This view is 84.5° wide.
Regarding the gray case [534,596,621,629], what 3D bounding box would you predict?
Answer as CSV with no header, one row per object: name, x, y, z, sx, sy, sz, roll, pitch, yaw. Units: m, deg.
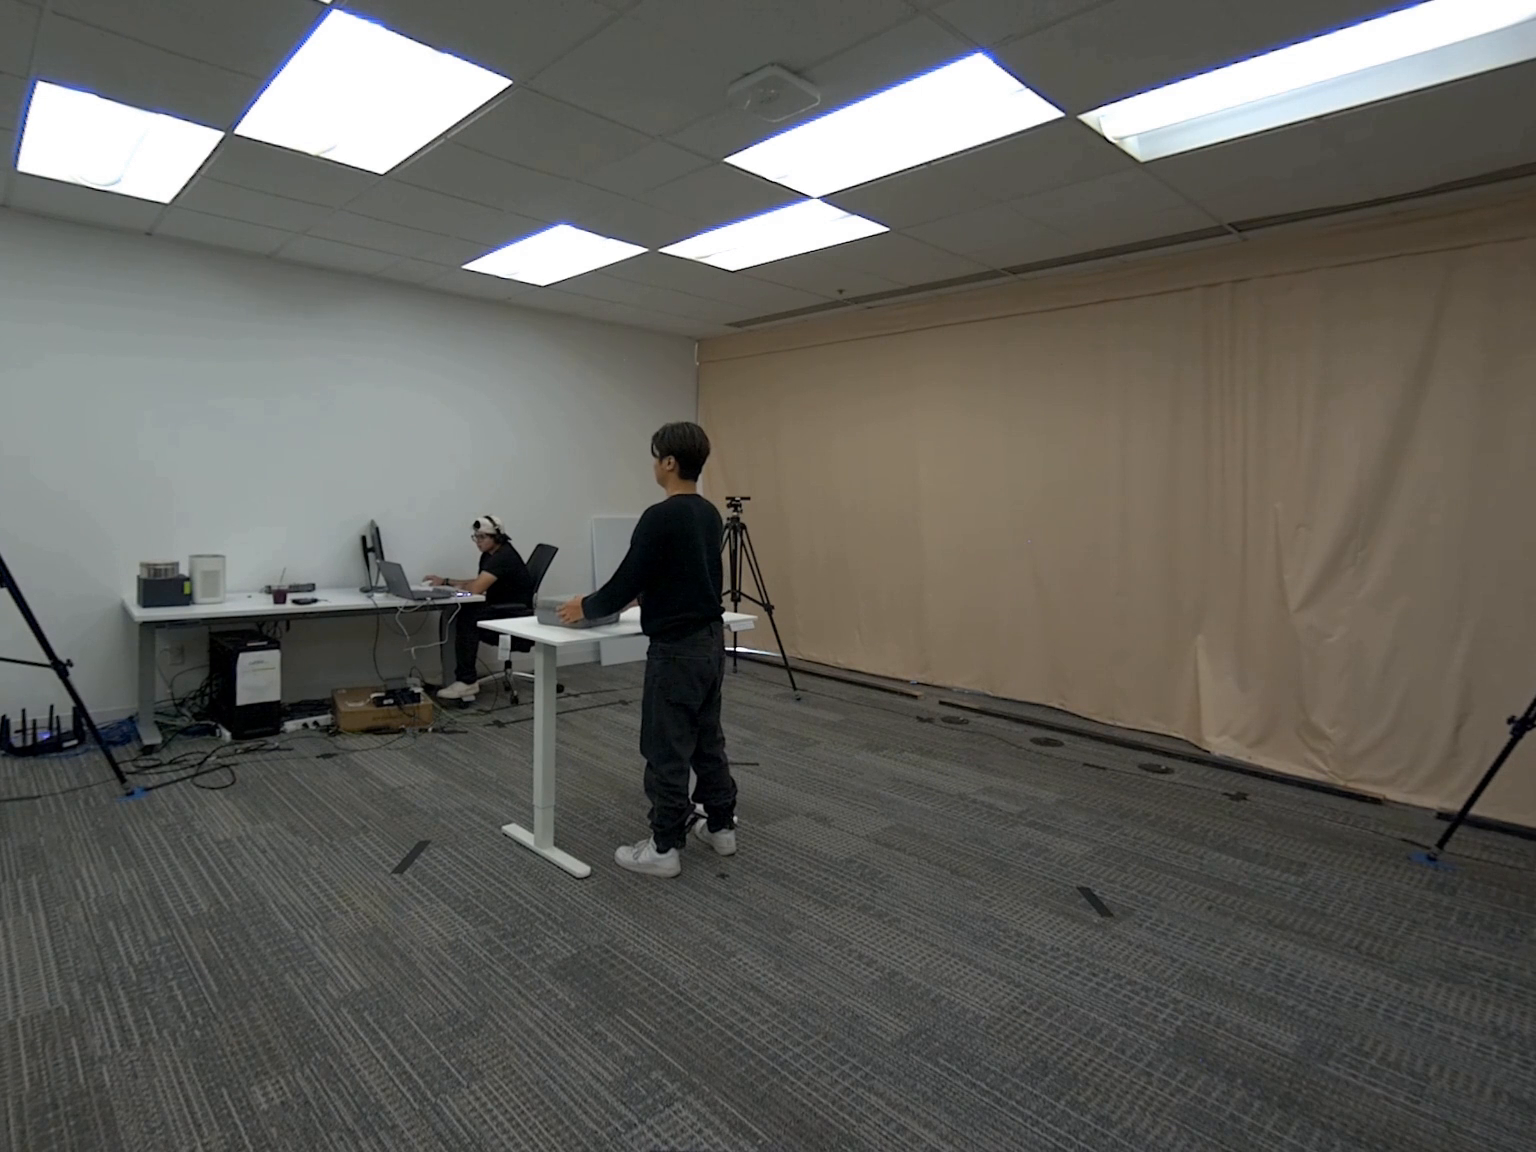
gray case,-0.757,0.136,3.369,0.266,0.104,0.252,4,6,32
